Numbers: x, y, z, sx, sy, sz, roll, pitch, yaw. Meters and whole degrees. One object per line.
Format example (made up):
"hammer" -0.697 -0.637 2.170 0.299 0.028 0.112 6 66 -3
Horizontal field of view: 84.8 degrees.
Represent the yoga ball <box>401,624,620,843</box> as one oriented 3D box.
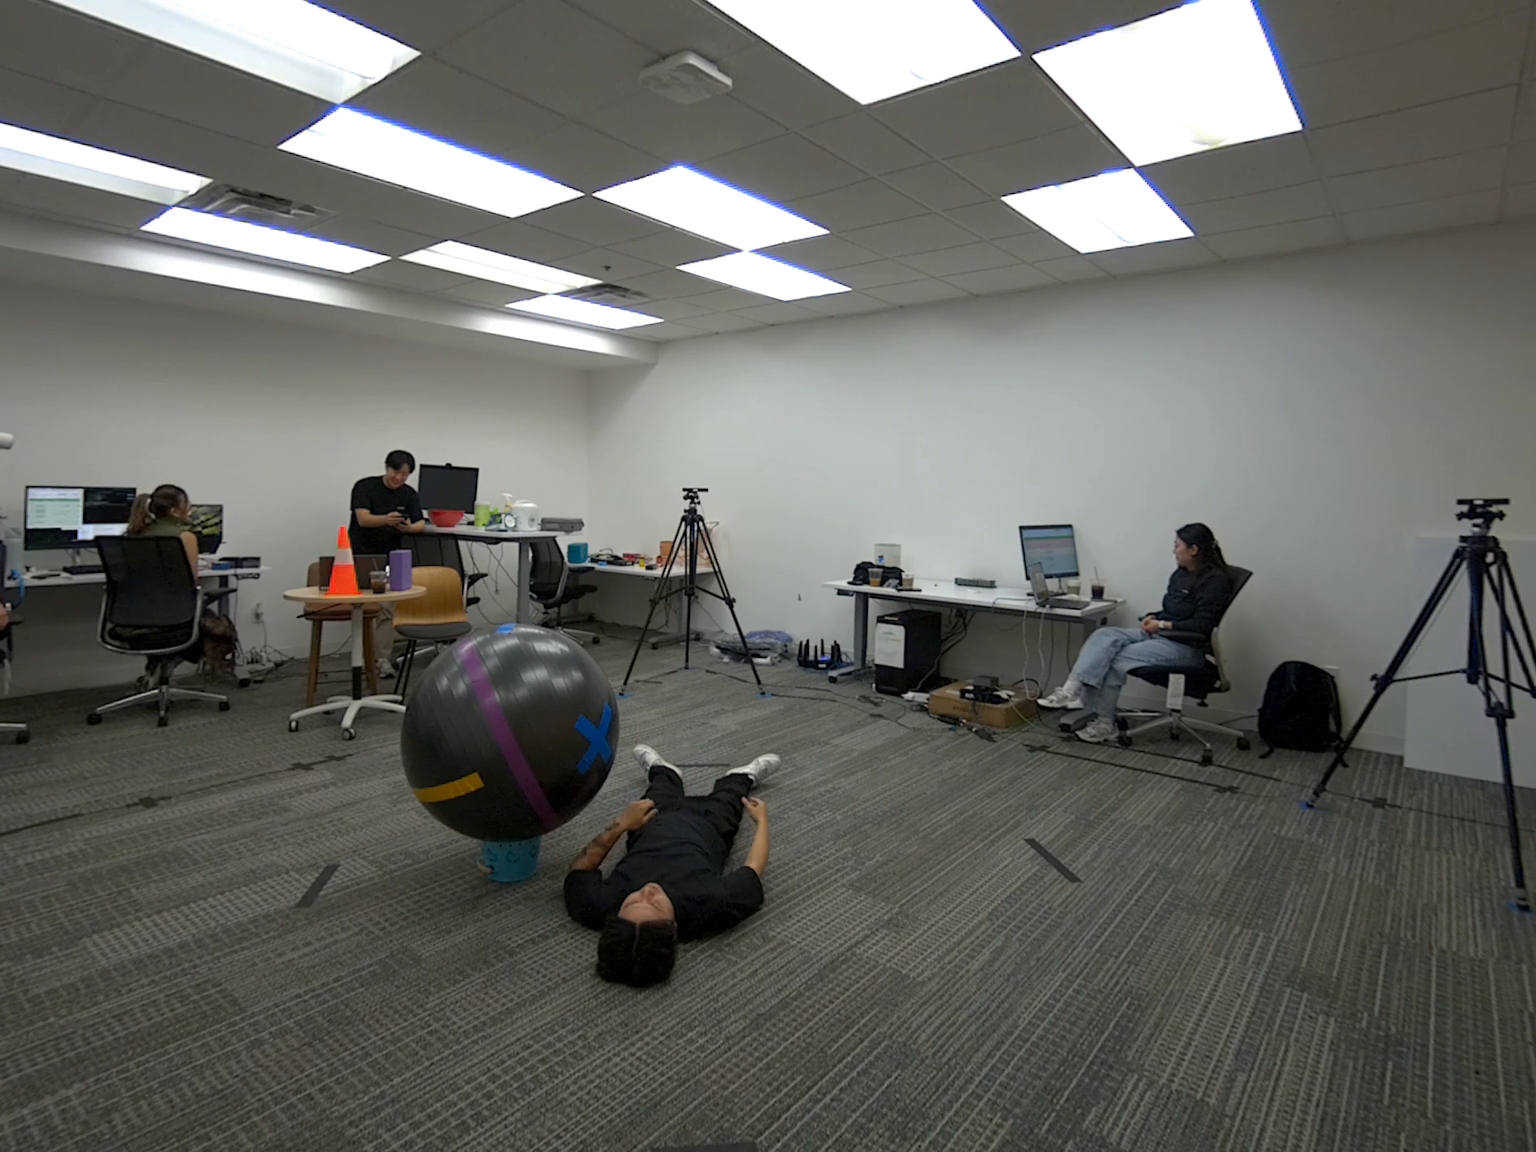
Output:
"yoga ball" -0.926 0.554 3.046 0.757 0.755 0.762 1 4 -2
